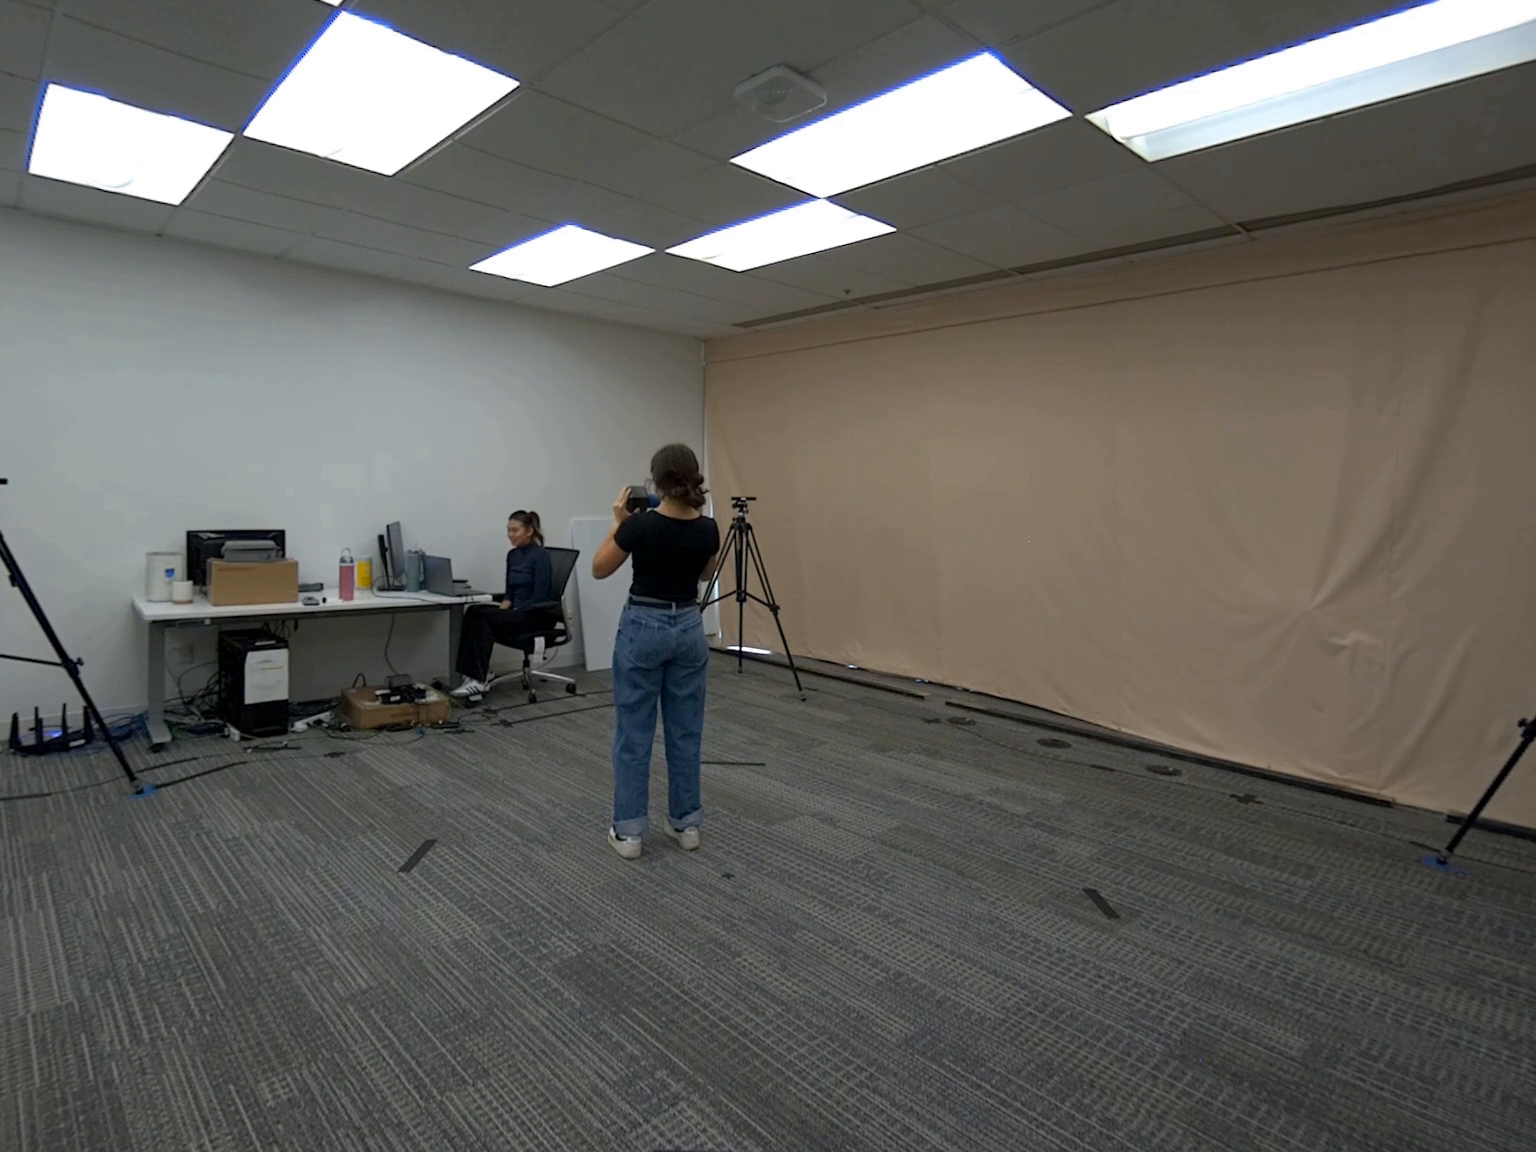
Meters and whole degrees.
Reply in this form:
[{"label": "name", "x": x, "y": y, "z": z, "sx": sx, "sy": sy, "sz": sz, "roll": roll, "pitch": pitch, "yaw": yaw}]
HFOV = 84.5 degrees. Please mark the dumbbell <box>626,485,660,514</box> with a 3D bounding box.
[{"label": "dumbbell", "x": -0.442, "y": -0.308, "z": 3.410, "sx": 0.289, "sy": 0.126, "sz": 0.107, "roll": -3, "pitch": -37, "yaw": -24}]
